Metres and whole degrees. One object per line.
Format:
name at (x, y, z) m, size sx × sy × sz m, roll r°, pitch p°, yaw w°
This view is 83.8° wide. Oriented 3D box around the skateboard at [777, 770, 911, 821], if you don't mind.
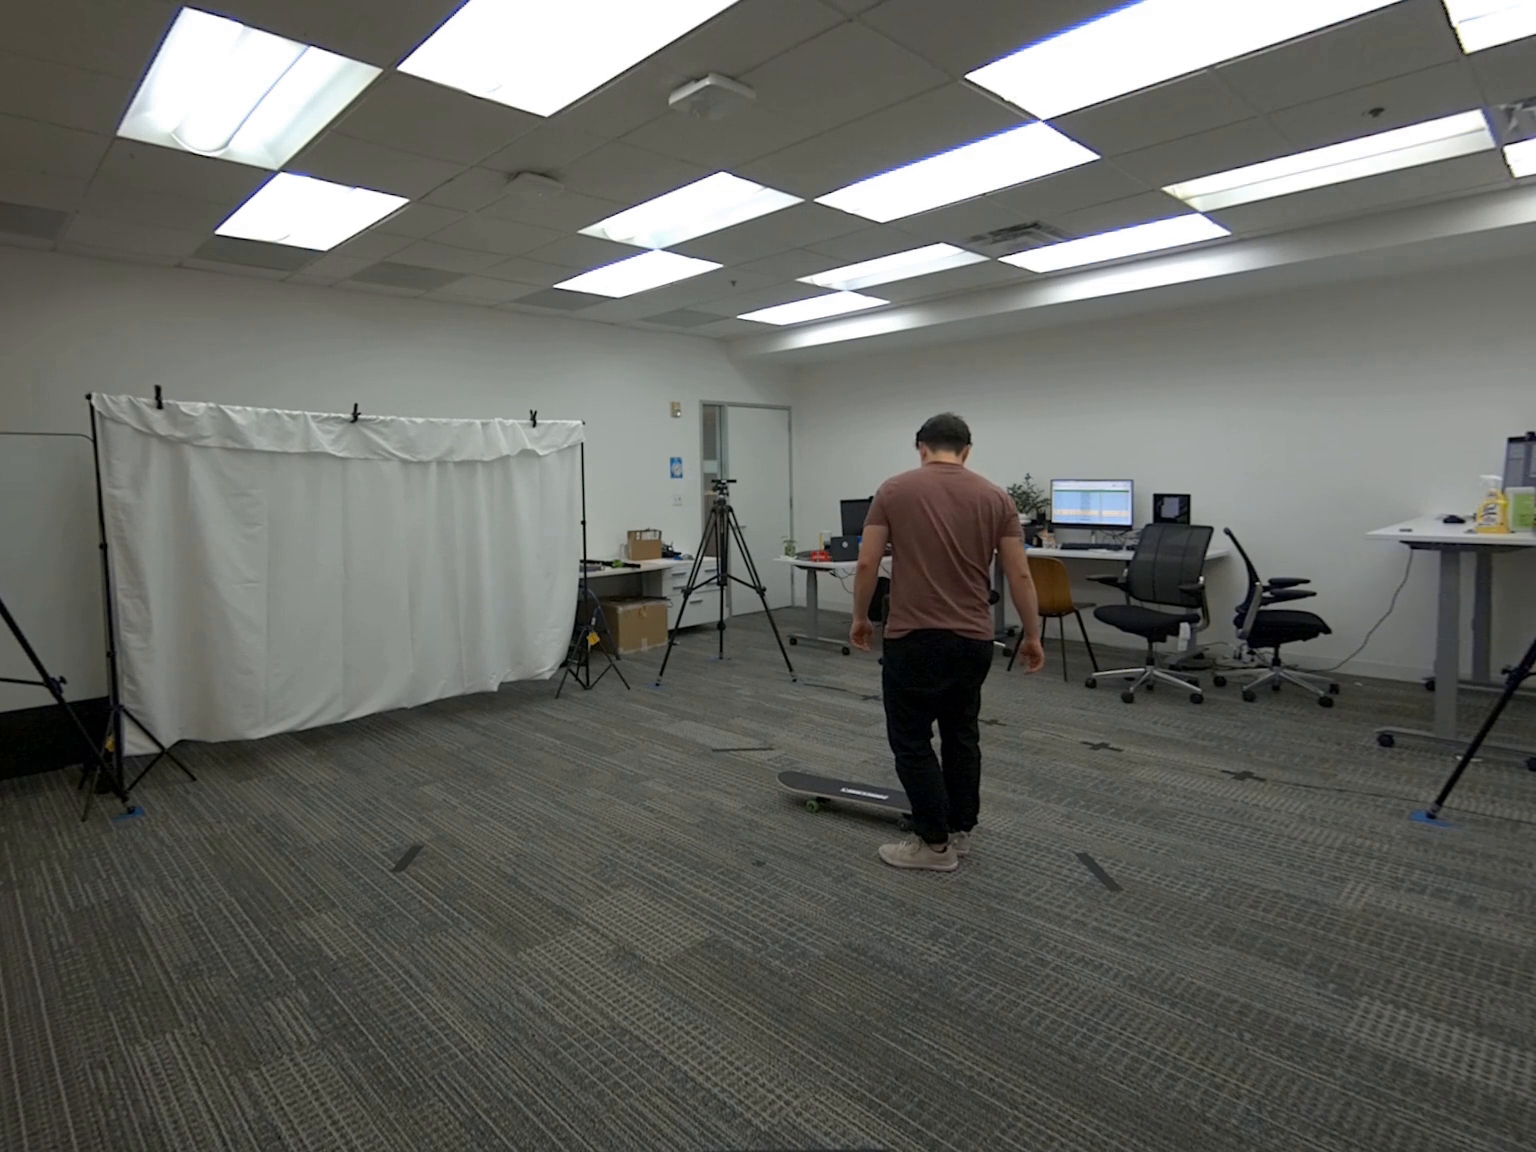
skateboard at (0.402, 0.935, 3.546) m, size 0.806 × 0.110 × 0.189 m, roll 3°, pitch 8°, yaw 30°
